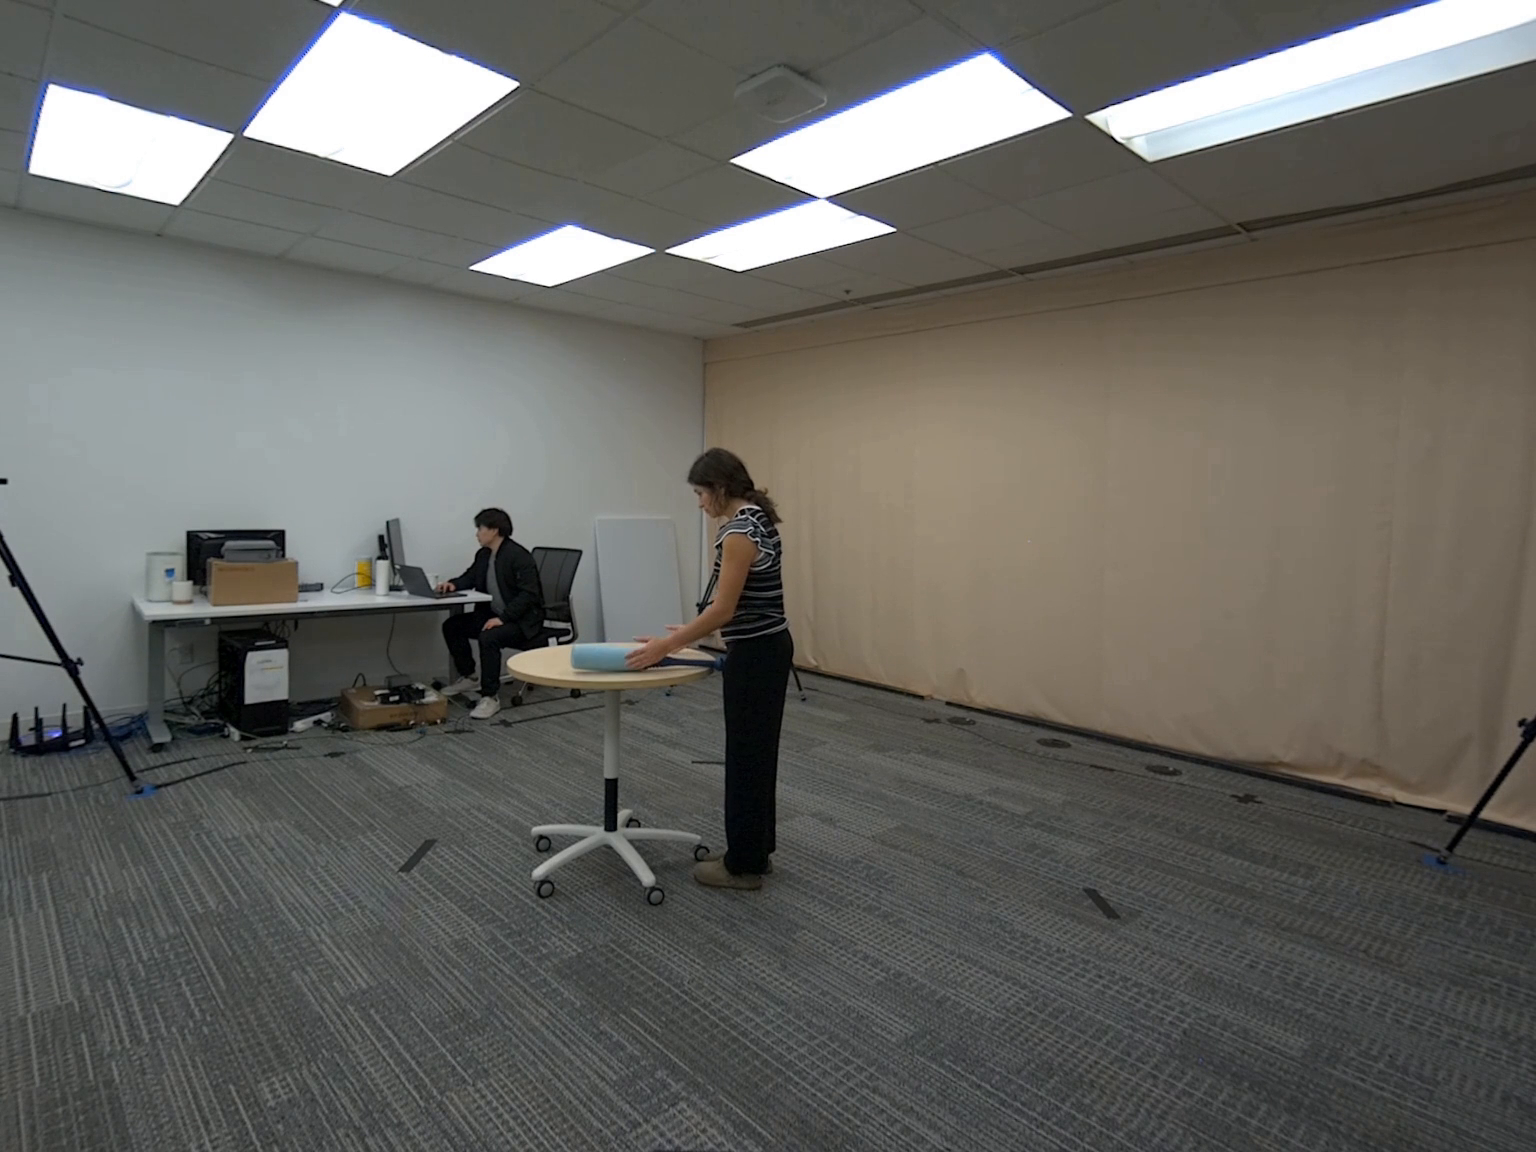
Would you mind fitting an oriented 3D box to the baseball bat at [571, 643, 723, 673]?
[{"bbox_3d":[-0.416,0.295,2.947,0.536,0.089,0.090,5,3,-16],"label":"baseball bat"}]
